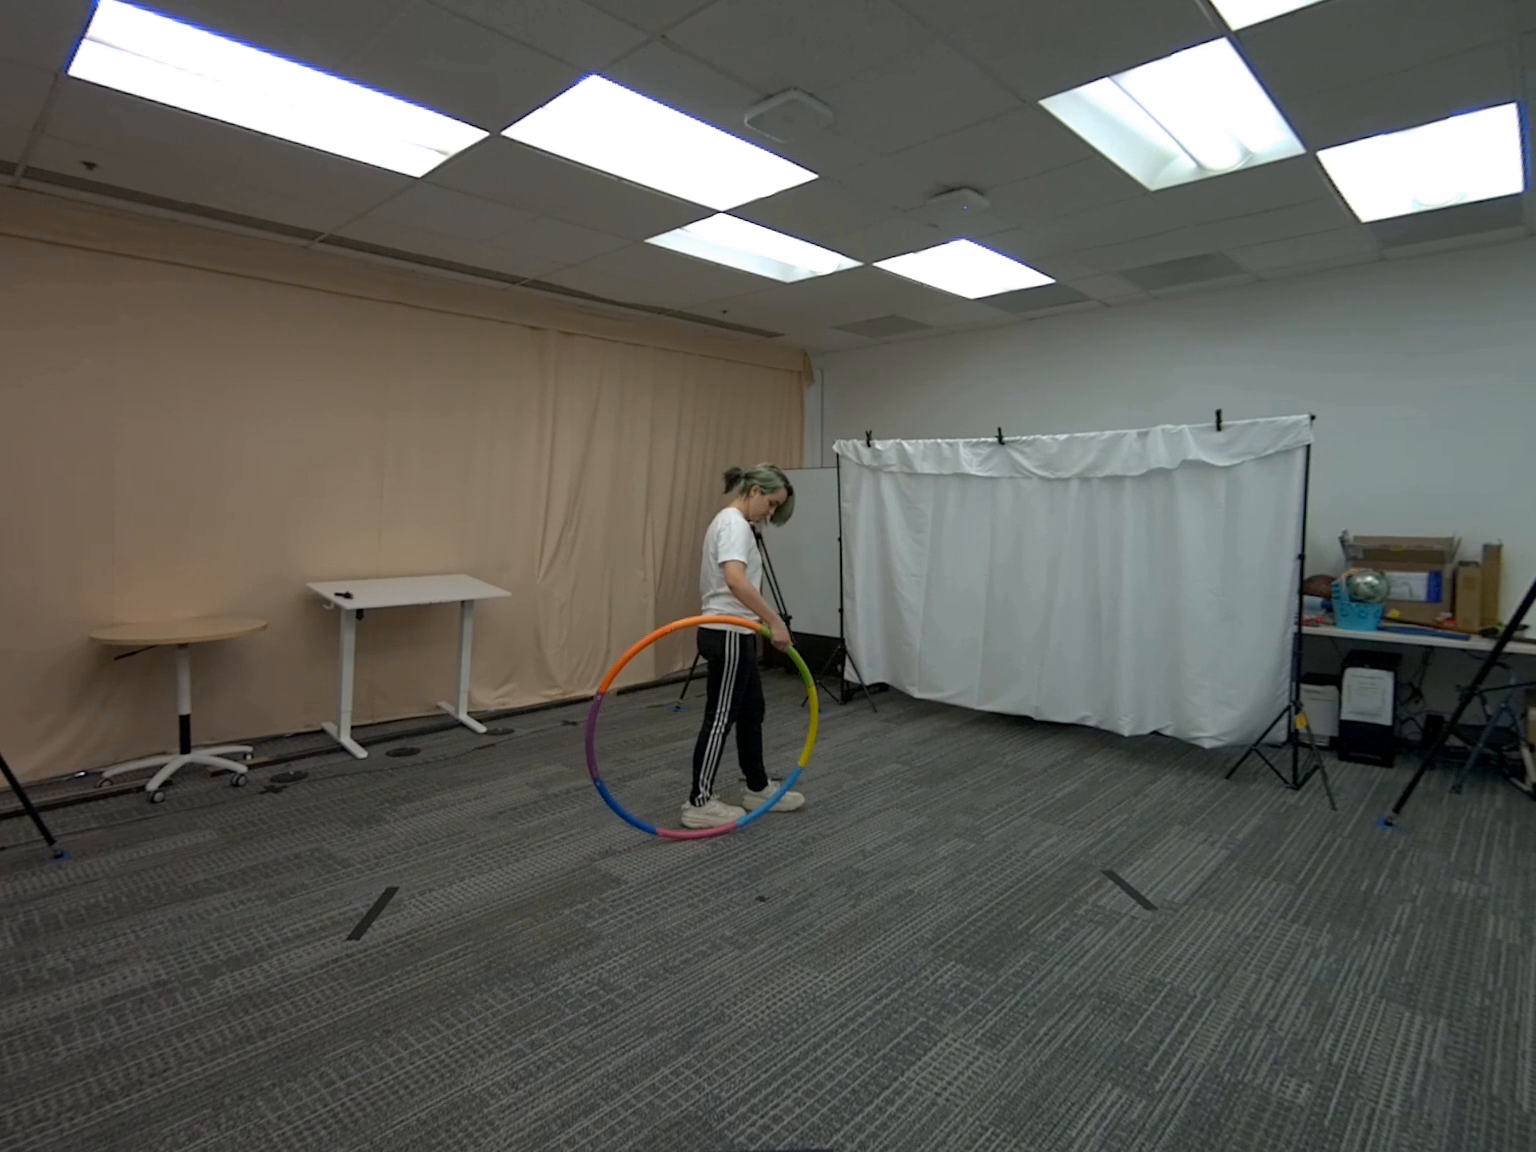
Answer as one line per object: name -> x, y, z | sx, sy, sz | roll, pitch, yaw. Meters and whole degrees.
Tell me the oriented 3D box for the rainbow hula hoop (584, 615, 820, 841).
rainbow hula hoop -> -0.249, 0.628, 3.429 | 0.960, 0.971, 0.036 | -1, 15, -19
